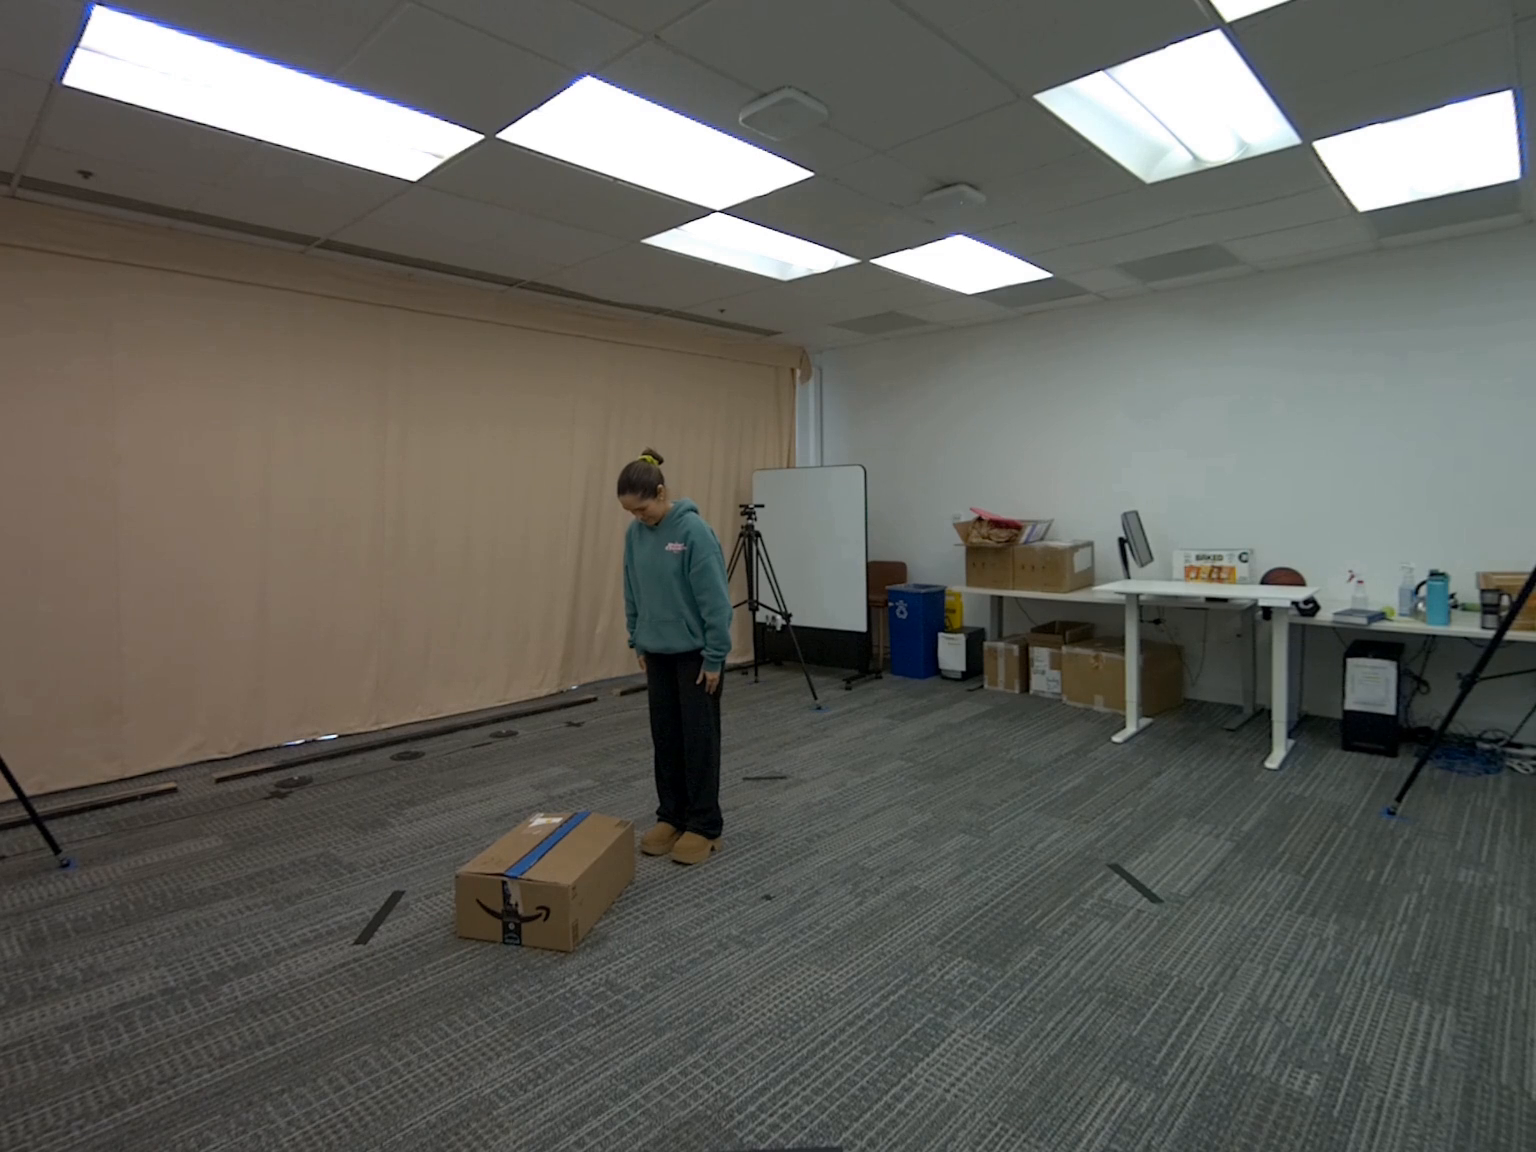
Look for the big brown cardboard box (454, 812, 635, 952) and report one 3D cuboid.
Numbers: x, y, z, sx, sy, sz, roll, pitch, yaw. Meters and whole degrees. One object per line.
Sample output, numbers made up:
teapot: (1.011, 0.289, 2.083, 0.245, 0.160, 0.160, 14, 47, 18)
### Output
big brown cardboard box: (-0.757, 1.043, 2.960, 0.424, 0.232, 0.582, 0, 5, 13)
